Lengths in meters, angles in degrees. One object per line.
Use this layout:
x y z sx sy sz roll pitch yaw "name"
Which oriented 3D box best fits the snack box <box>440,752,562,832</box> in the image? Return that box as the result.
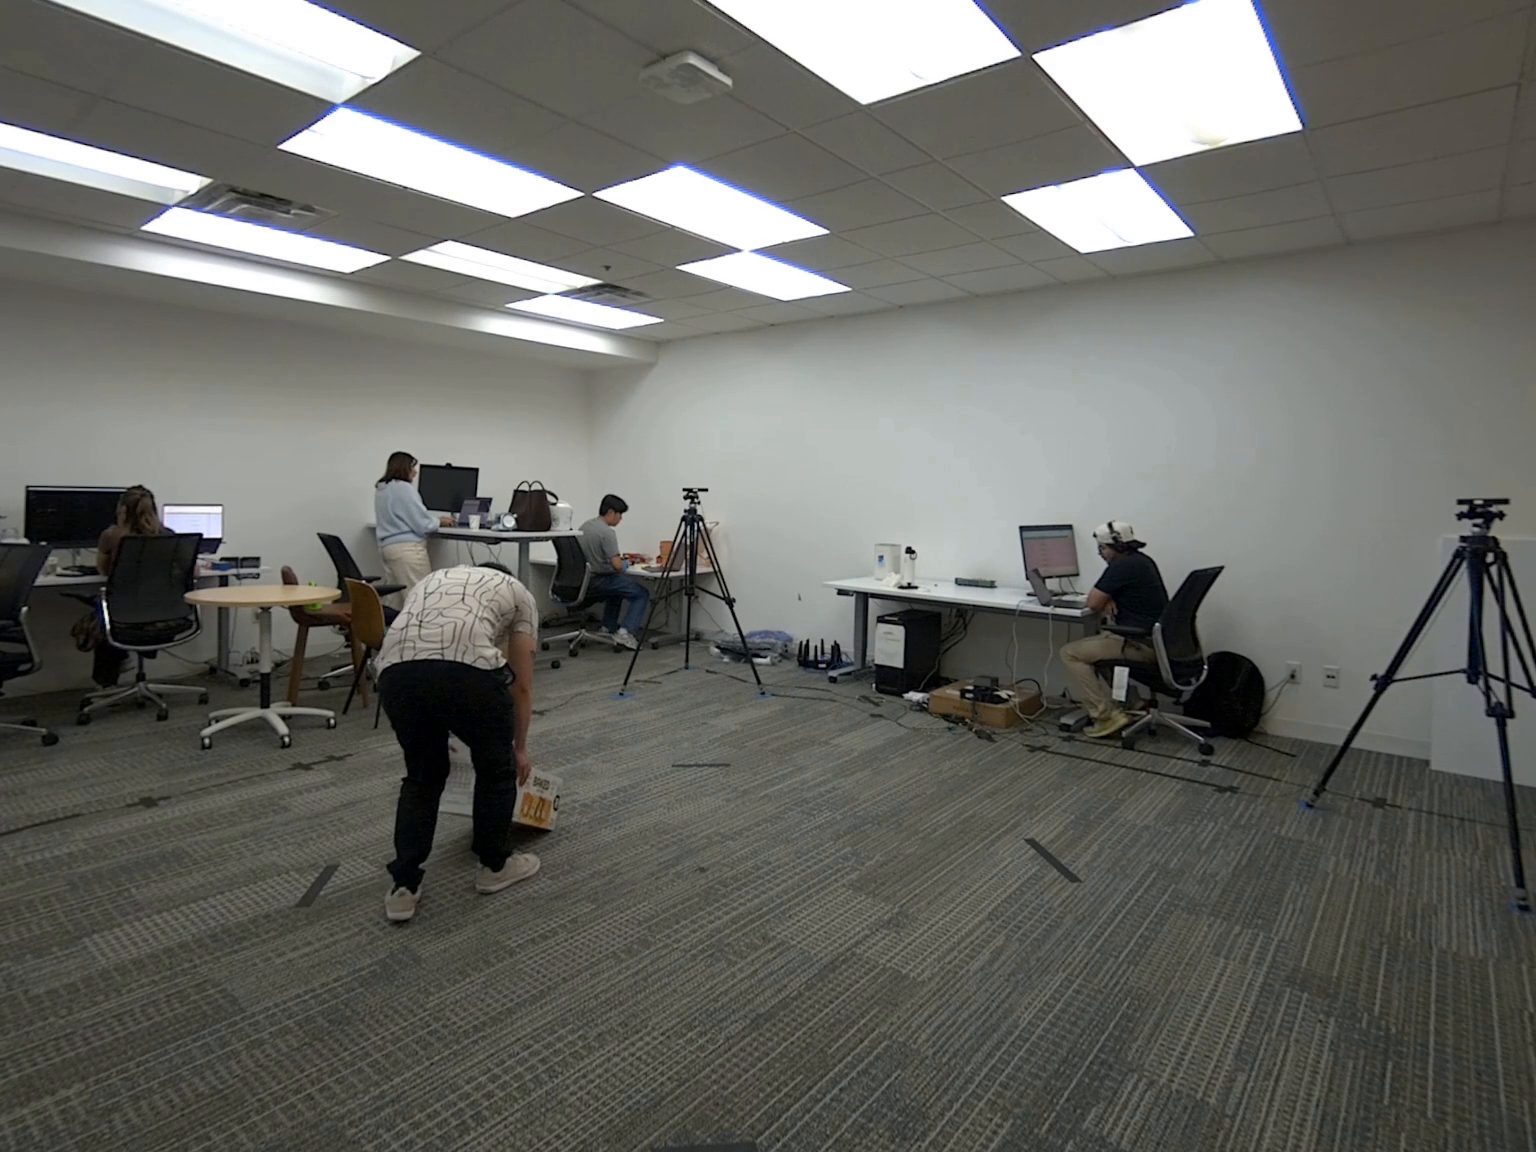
-1.066 0.853 3.337 0.345 0.209 0.392 2 -22 12 "snack box"
